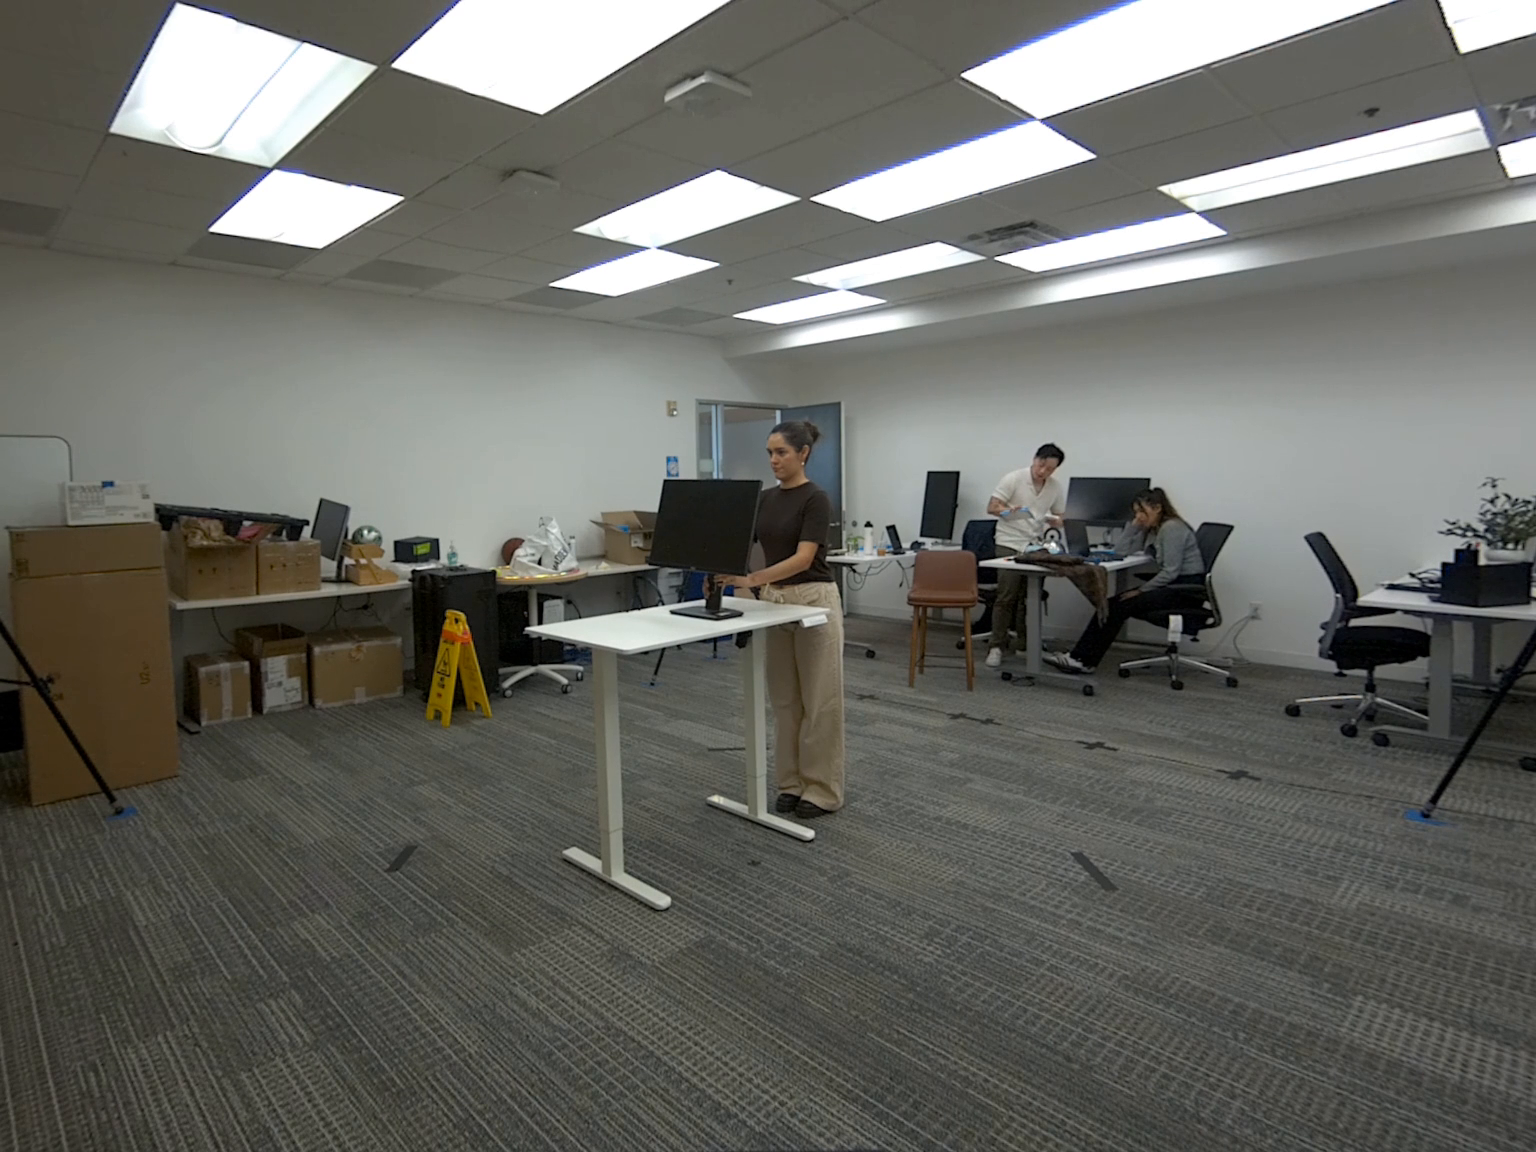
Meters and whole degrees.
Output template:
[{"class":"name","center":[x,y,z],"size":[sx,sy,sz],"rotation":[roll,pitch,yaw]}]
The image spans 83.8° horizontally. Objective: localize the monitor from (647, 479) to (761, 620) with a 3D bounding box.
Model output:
[{"class":"monitor","center":[-0.231,-0.109,3.244],"size":[0.547,0.512,0.170],"rotation":[6,10,43]}]
